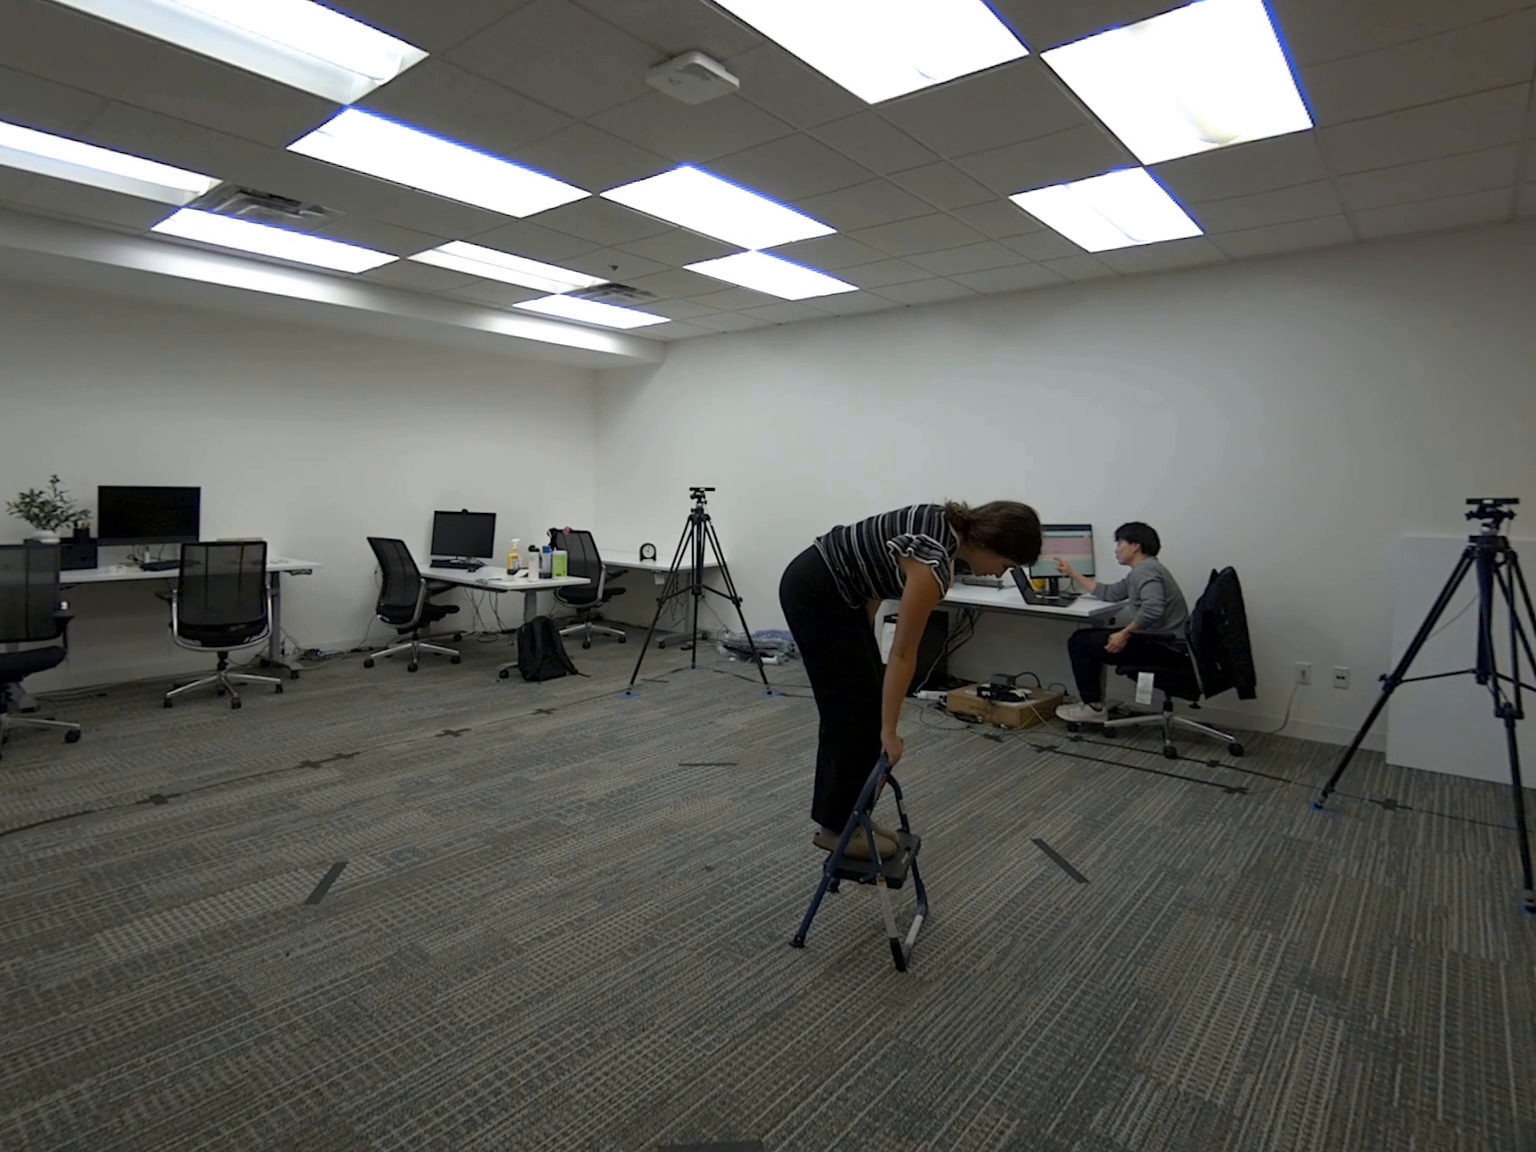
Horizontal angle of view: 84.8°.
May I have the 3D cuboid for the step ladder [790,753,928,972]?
[{"bbox_3d":[0.306,0.818,2.700,0.357,0.604,0.422,3,4,21],"label":"step ladder"}]
